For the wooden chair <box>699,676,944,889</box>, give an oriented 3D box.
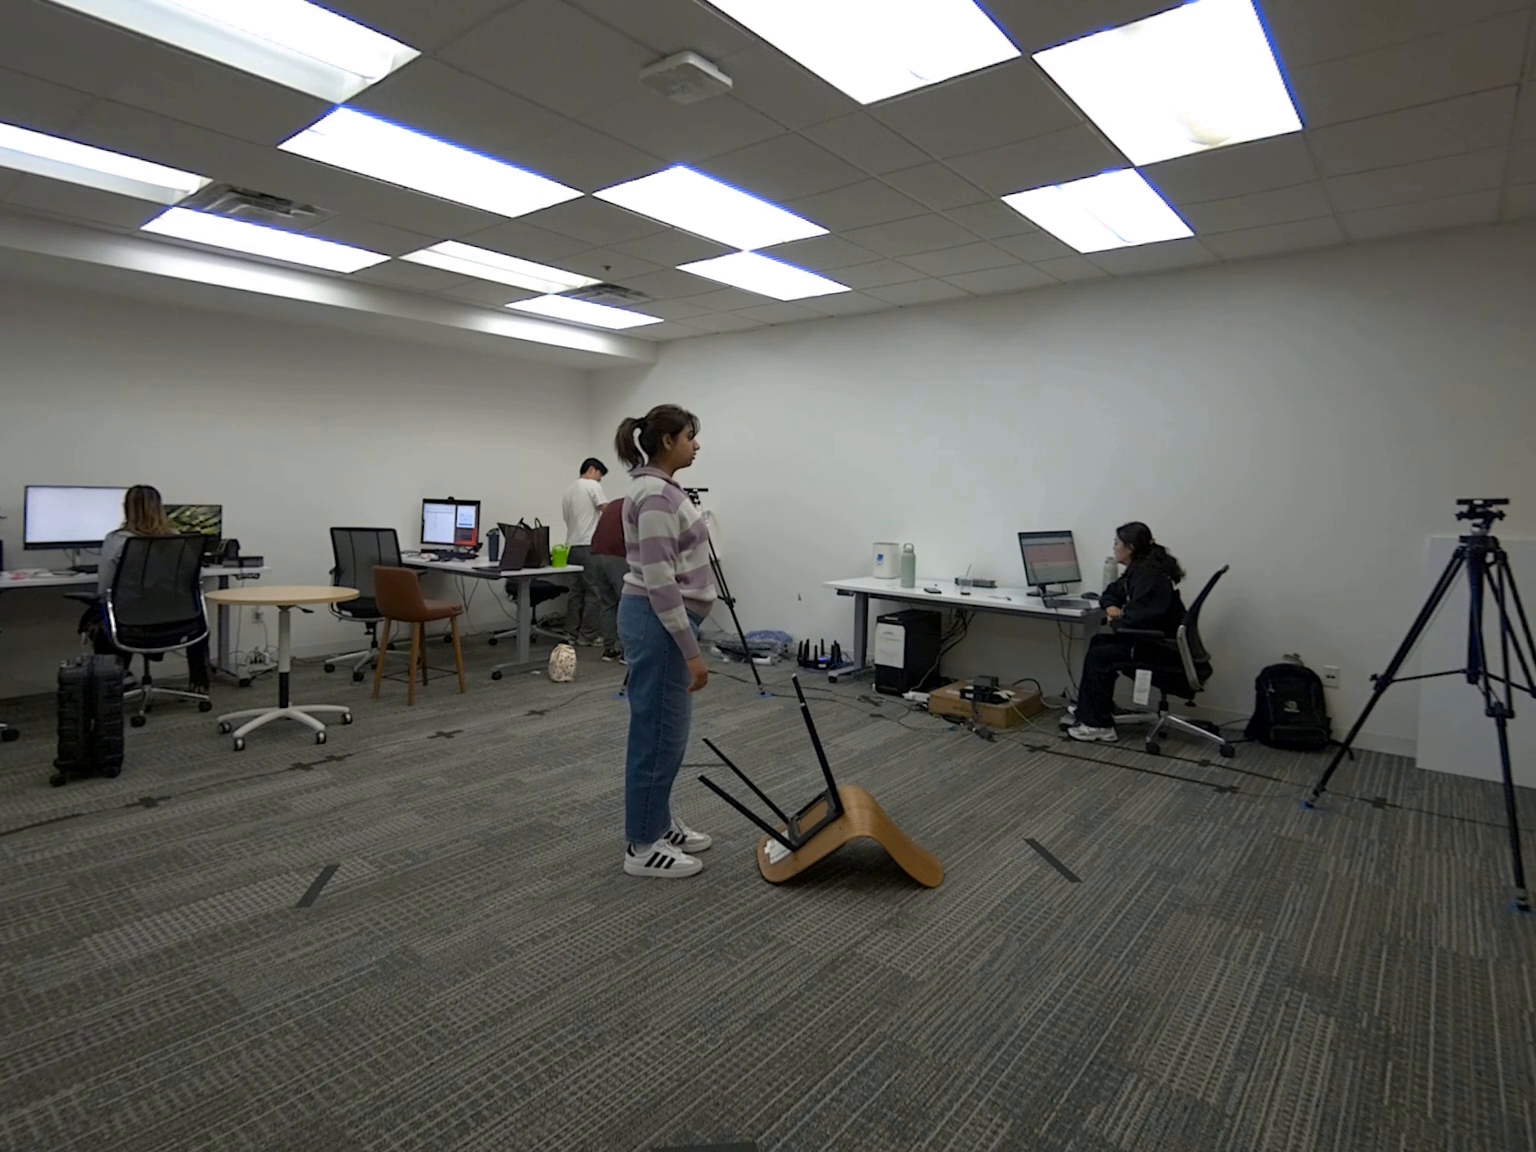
[{"bbox_3d":[0.161,0.902,3.179,0.523,0.875,0.479,-39,3,3],"label":"wooden chair"}]
